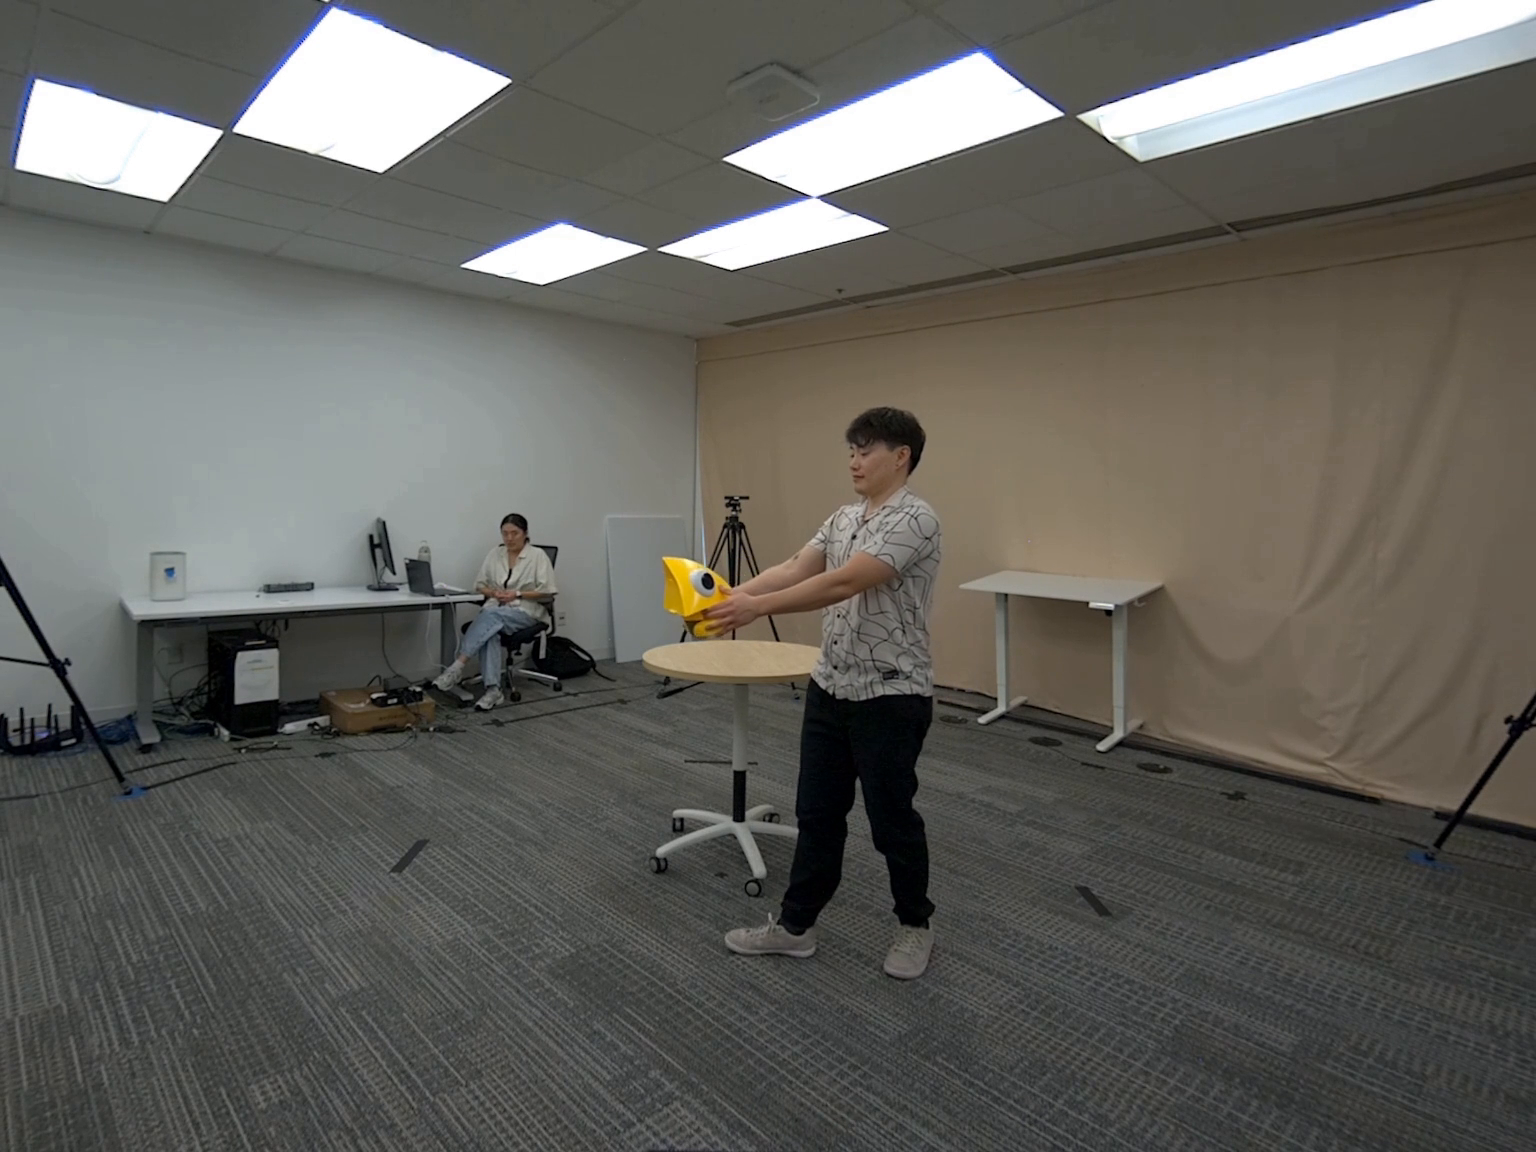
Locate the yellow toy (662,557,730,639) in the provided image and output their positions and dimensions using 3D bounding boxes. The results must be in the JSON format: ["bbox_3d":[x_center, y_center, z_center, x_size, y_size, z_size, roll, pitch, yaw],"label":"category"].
[{"bbox_3d":[-0.199,0.026,2.327,0.192,0.228,0.208,-25,12,-18],"label":"yellow toy"}]
